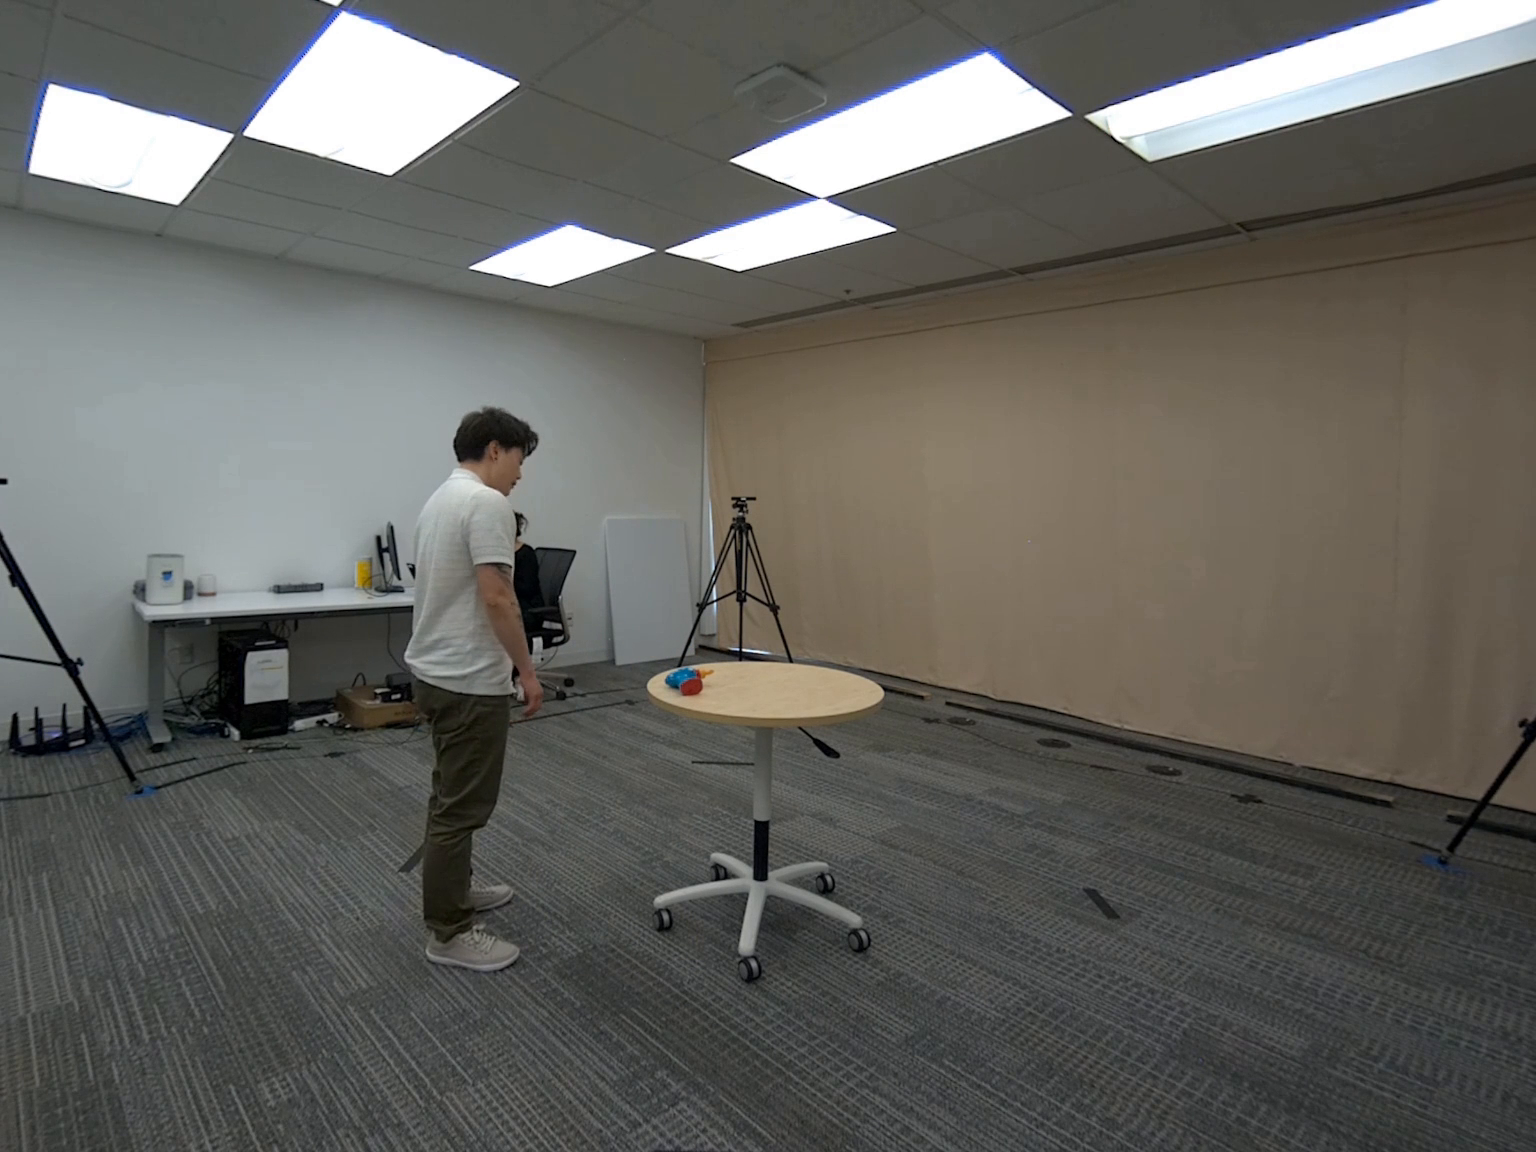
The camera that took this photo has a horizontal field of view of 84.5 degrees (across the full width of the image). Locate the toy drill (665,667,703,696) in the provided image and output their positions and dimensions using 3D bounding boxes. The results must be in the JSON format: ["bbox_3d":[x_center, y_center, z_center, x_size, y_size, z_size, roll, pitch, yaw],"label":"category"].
[{"bbox_3d":[-0.244,0.332,2.671,0.167,0.061,0.149,-7,10,-21],"label":"toy drill"}]
